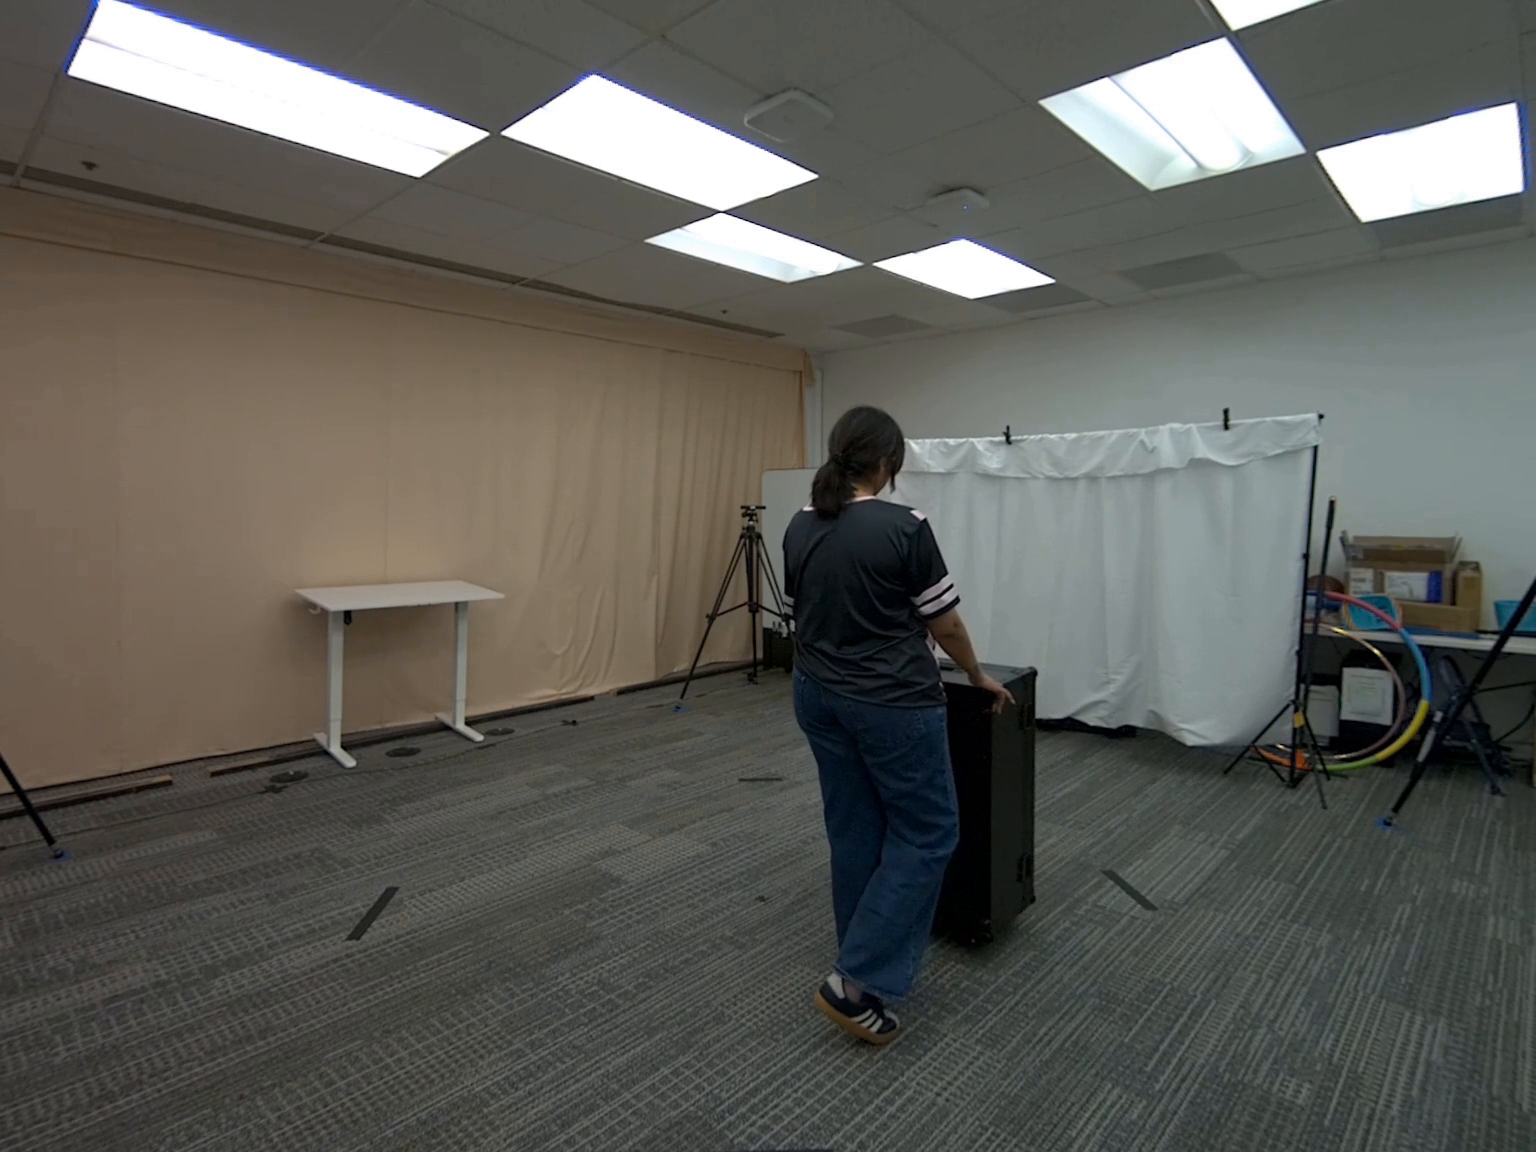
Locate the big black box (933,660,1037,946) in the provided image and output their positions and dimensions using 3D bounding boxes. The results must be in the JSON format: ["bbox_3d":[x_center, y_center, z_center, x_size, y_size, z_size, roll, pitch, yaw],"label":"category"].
[{"bbox_3d":[0.598,0.737,2.799,0.540,0.866,0.374,2,5,39],"label":"big black box"}]
